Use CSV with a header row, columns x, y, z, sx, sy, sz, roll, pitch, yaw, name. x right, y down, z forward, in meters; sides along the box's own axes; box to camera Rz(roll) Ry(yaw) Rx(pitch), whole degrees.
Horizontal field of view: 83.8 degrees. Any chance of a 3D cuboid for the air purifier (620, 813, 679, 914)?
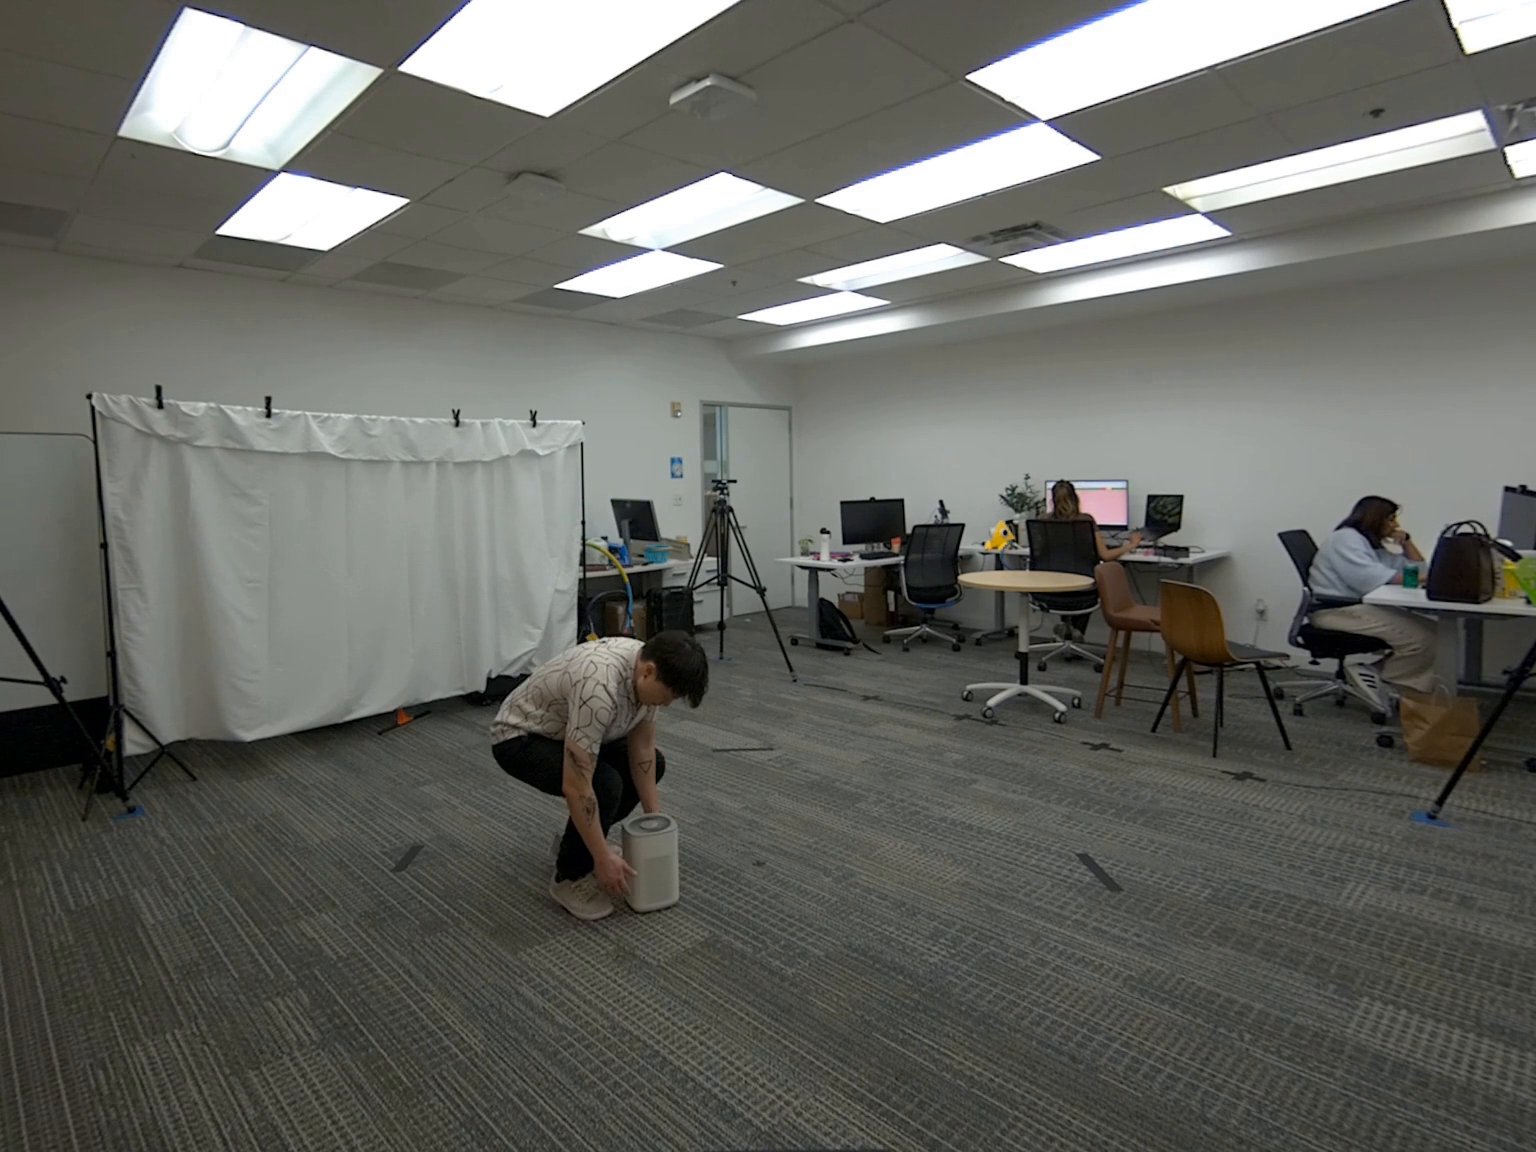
x,y,z,sx,sy,sz,roll,pitch,yaw,name
-0.393,0.949,2.836,0.167,0.264,0.176,-3,6,-25,air purifier
